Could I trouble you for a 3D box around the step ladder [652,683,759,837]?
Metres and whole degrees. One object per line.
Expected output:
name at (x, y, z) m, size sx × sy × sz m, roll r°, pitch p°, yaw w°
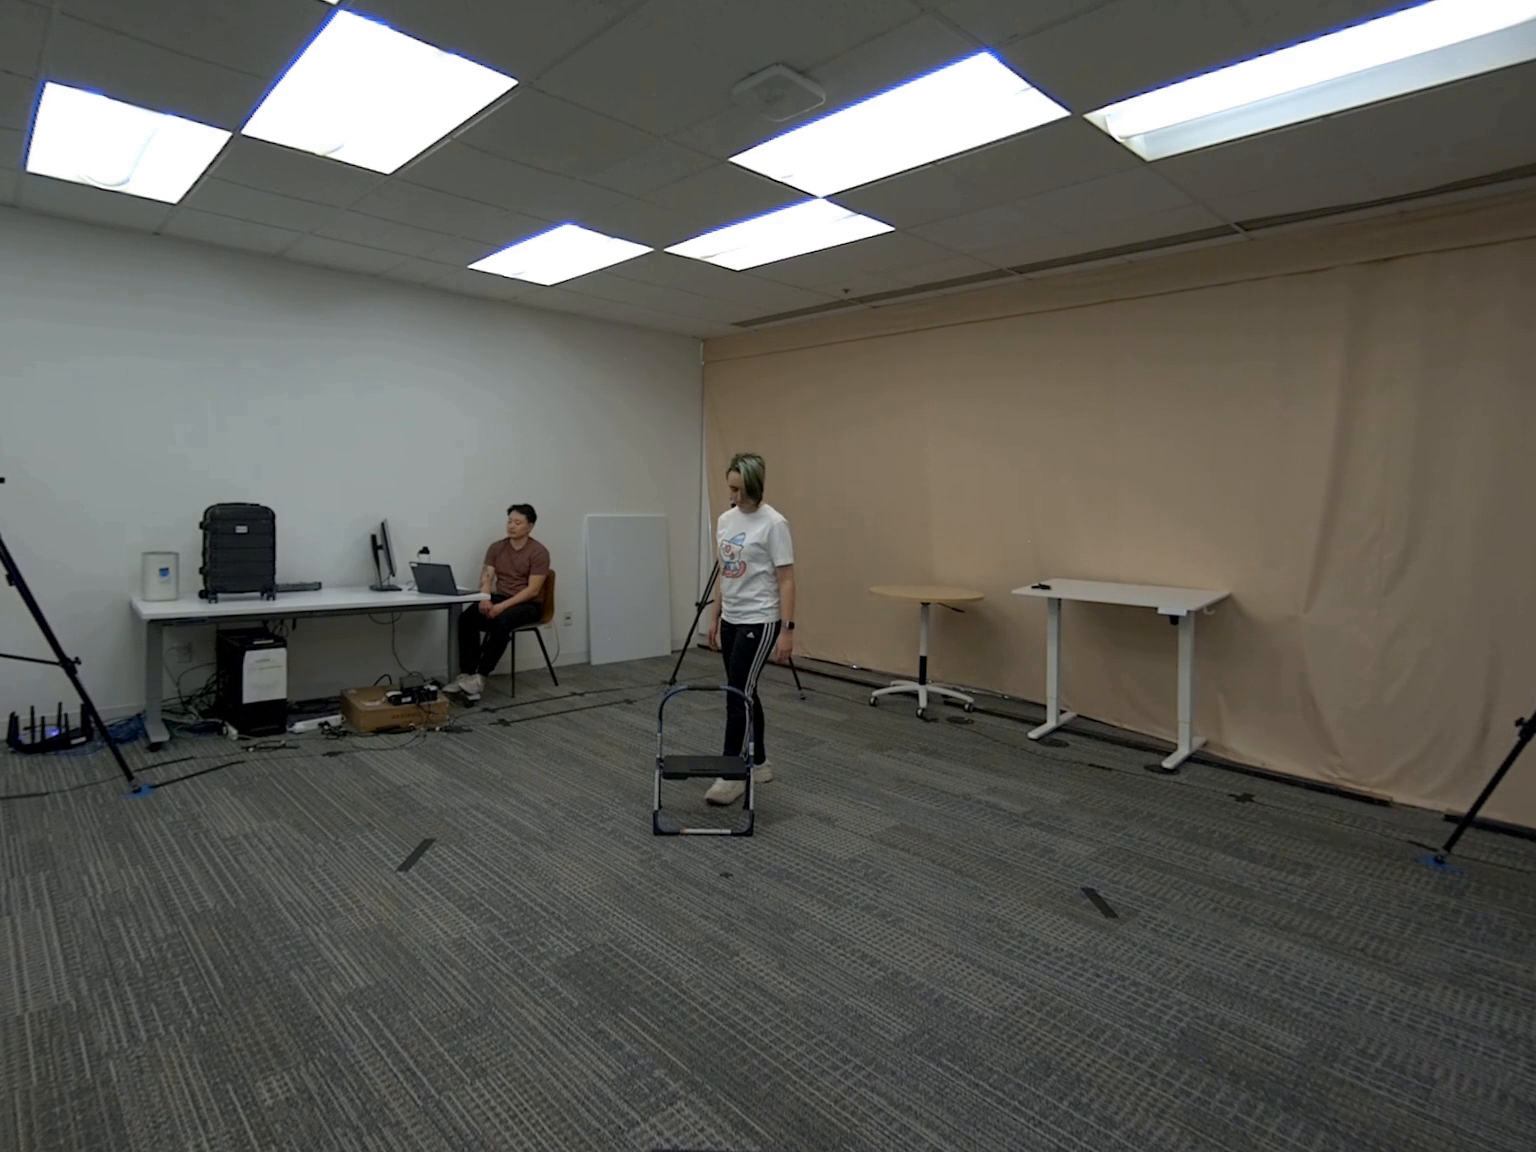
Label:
step ladder at (-0.285, 0.757, 3.615) m, size 0.429 × 0.605 × 0.351 m, roll 2°, pitch 3°, yaw -4°
